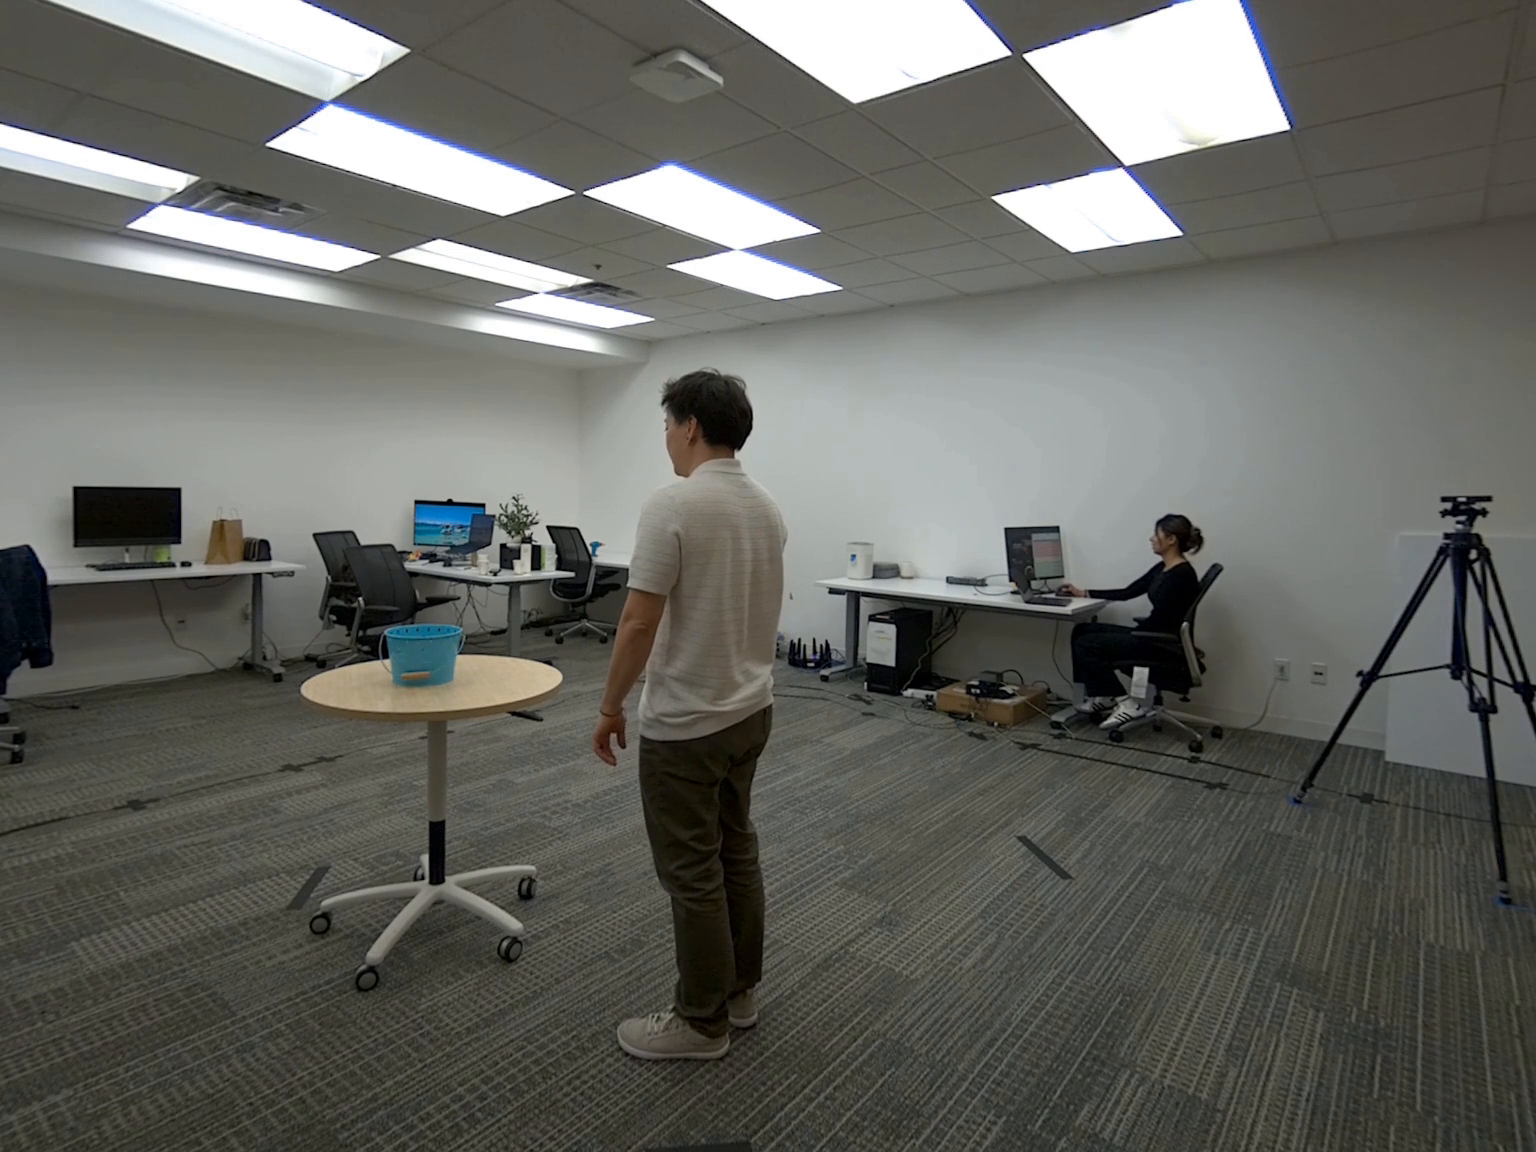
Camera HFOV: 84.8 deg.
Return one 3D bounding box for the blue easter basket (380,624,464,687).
[{"bbox_3d":[-1.084,0.246,2.629,0.243,0.155,0.245,0,5,-2],"label":"blue easter basket"}]
